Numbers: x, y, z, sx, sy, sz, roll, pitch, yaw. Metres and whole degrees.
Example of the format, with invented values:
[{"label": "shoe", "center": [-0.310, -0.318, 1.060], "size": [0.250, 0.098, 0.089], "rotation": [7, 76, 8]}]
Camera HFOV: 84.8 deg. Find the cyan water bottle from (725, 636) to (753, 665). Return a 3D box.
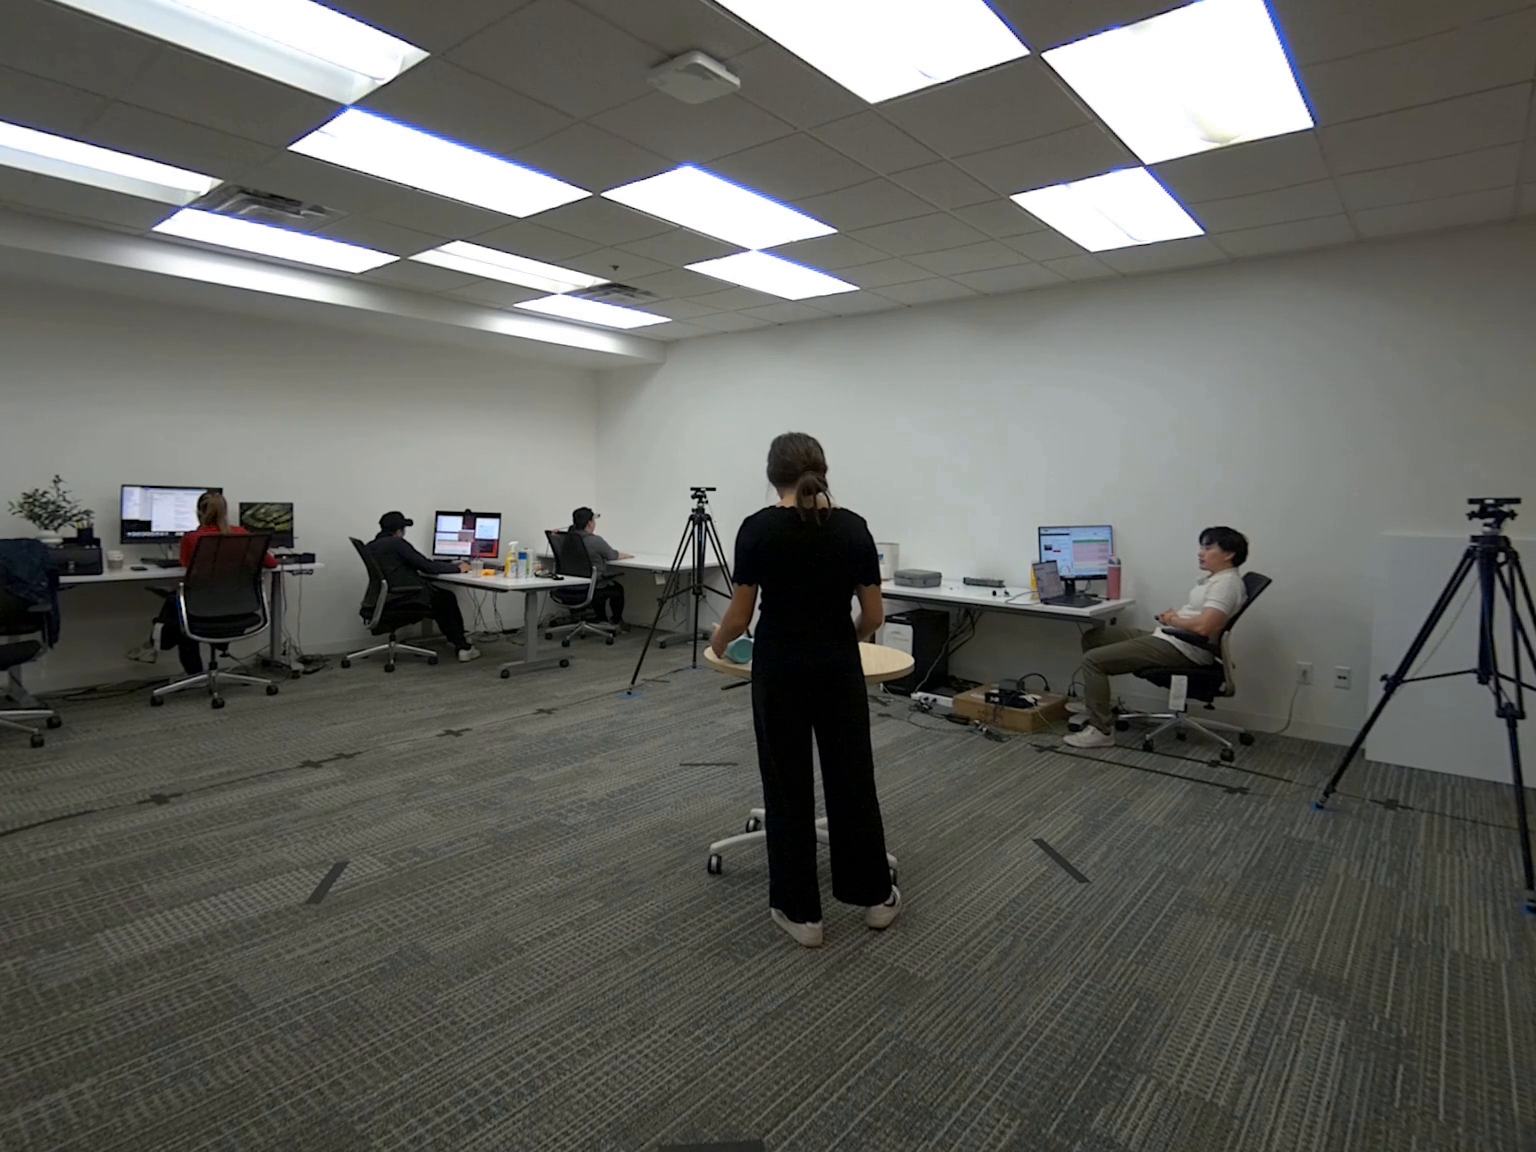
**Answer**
[{"label": "cyan water bottle", "center": [-0.135, 0.241, 3.060], "size": [0.091, 0.092, 0.289], "rotation": [0, 5, -17]}]
